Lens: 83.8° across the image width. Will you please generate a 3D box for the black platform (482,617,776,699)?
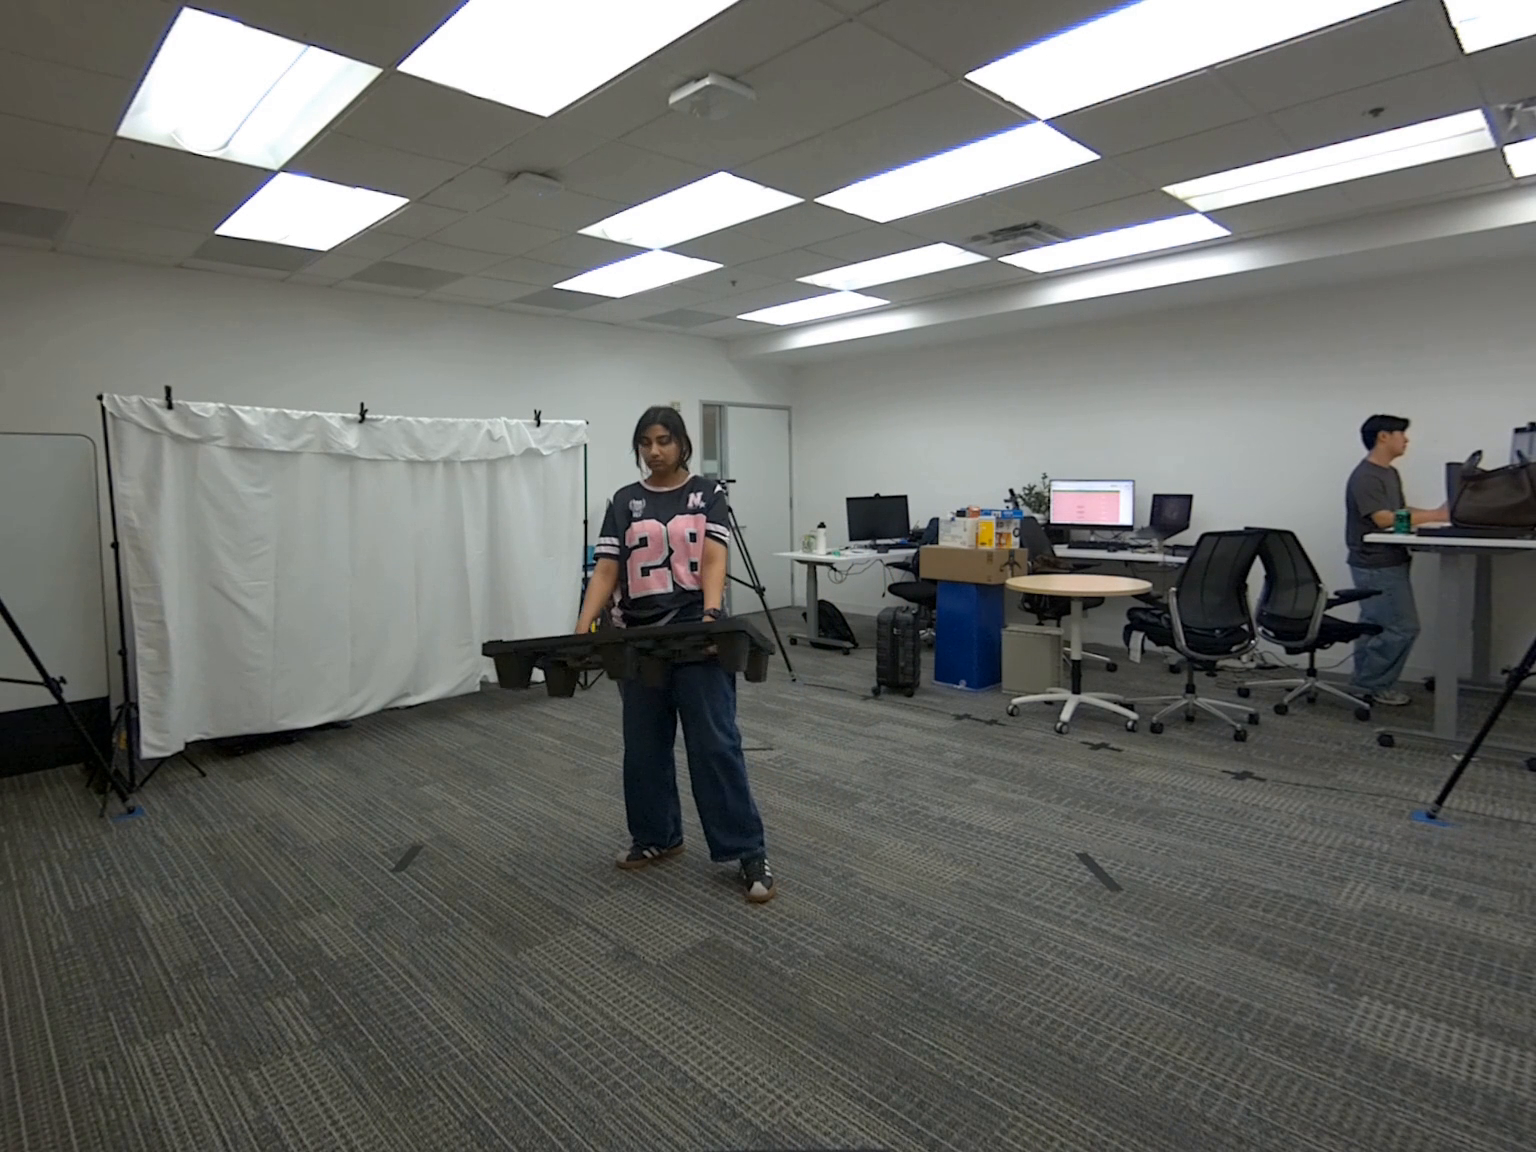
[{"bbox_3d":[-0.404,0.281,2.707,0.813,0.145,0.591,-6,-13,10],"label":"black platform"}]
